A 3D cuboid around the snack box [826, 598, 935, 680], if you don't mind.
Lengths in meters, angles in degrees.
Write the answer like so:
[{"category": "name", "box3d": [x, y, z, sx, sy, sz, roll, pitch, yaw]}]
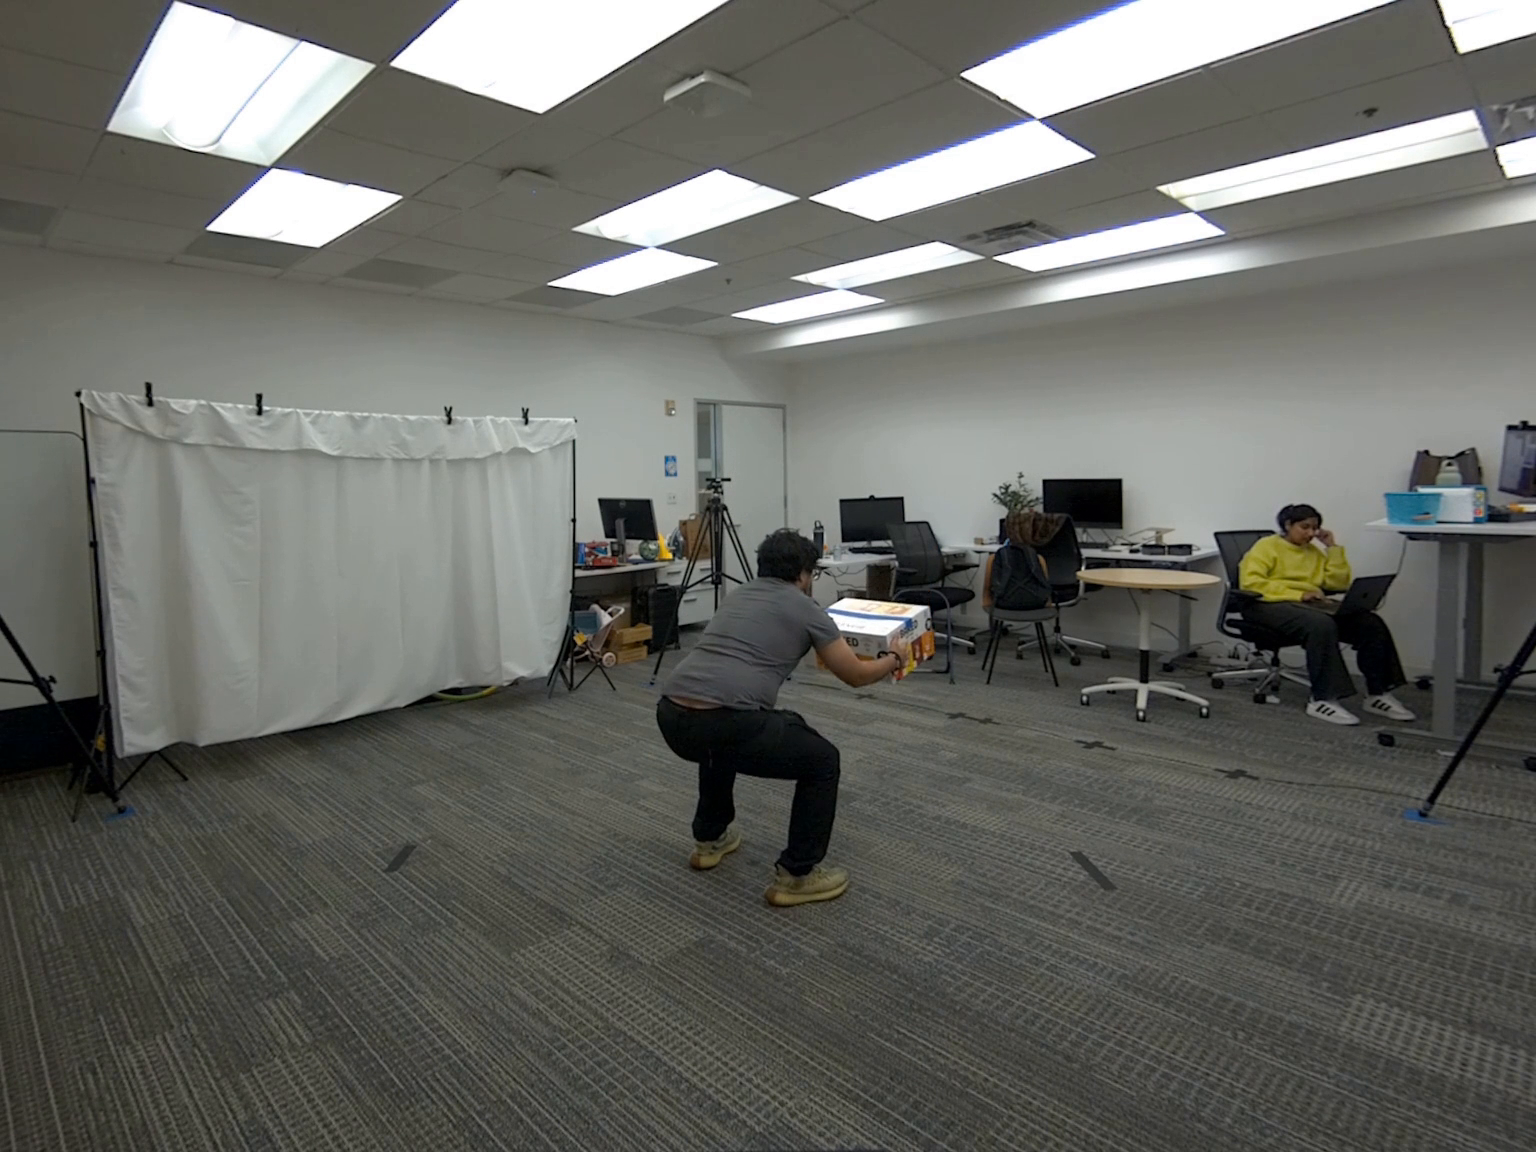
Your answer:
[{"category": "snack box", "box3d": [0.405, 0.253, 3.470, 0.417, 0.203, 0.335, 4, 19, 40]}]
